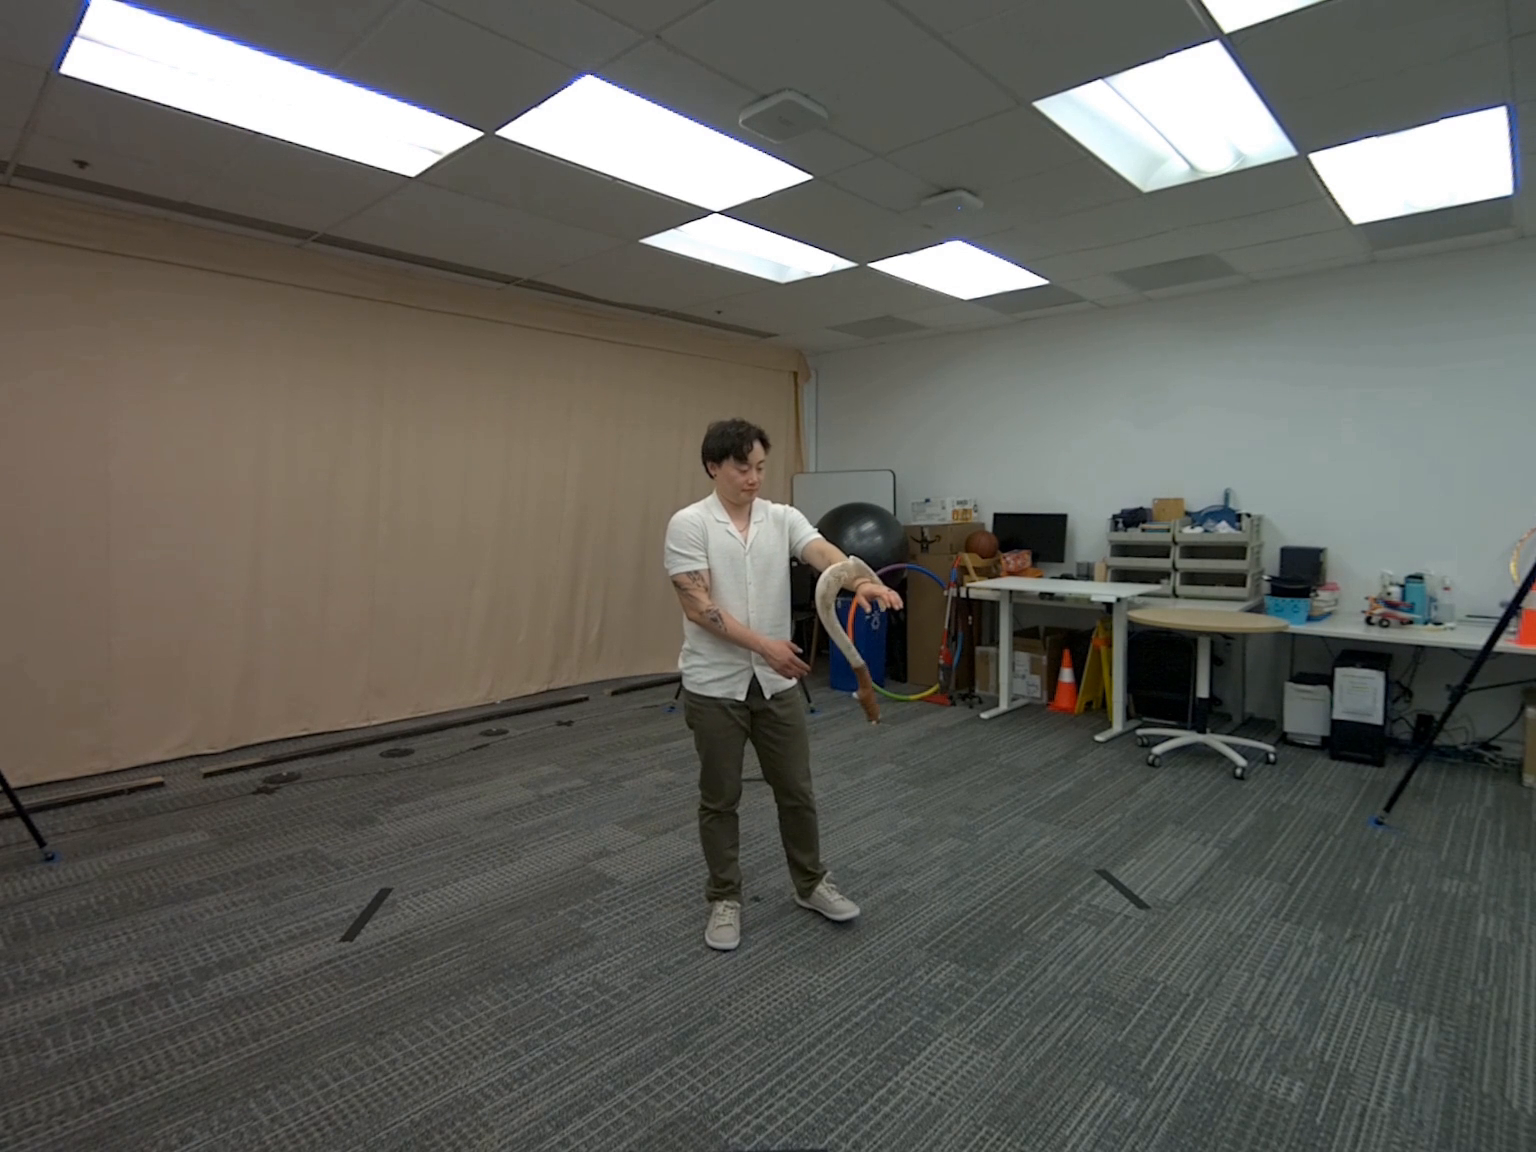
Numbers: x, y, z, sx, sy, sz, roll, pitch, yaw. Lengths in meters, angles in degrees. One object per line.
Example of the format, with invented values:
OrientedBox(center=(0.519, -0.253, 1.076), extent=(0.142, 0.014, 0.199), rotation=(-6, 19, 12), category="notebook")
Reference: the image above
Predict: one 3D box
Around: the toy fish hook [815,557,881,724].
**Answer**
OrientedBox(center=(0.302, 0.190, 2.464), extent=(0.223, 0.500, 0.049), rotation=(-20, 14, -9), category="toy fish hook")
